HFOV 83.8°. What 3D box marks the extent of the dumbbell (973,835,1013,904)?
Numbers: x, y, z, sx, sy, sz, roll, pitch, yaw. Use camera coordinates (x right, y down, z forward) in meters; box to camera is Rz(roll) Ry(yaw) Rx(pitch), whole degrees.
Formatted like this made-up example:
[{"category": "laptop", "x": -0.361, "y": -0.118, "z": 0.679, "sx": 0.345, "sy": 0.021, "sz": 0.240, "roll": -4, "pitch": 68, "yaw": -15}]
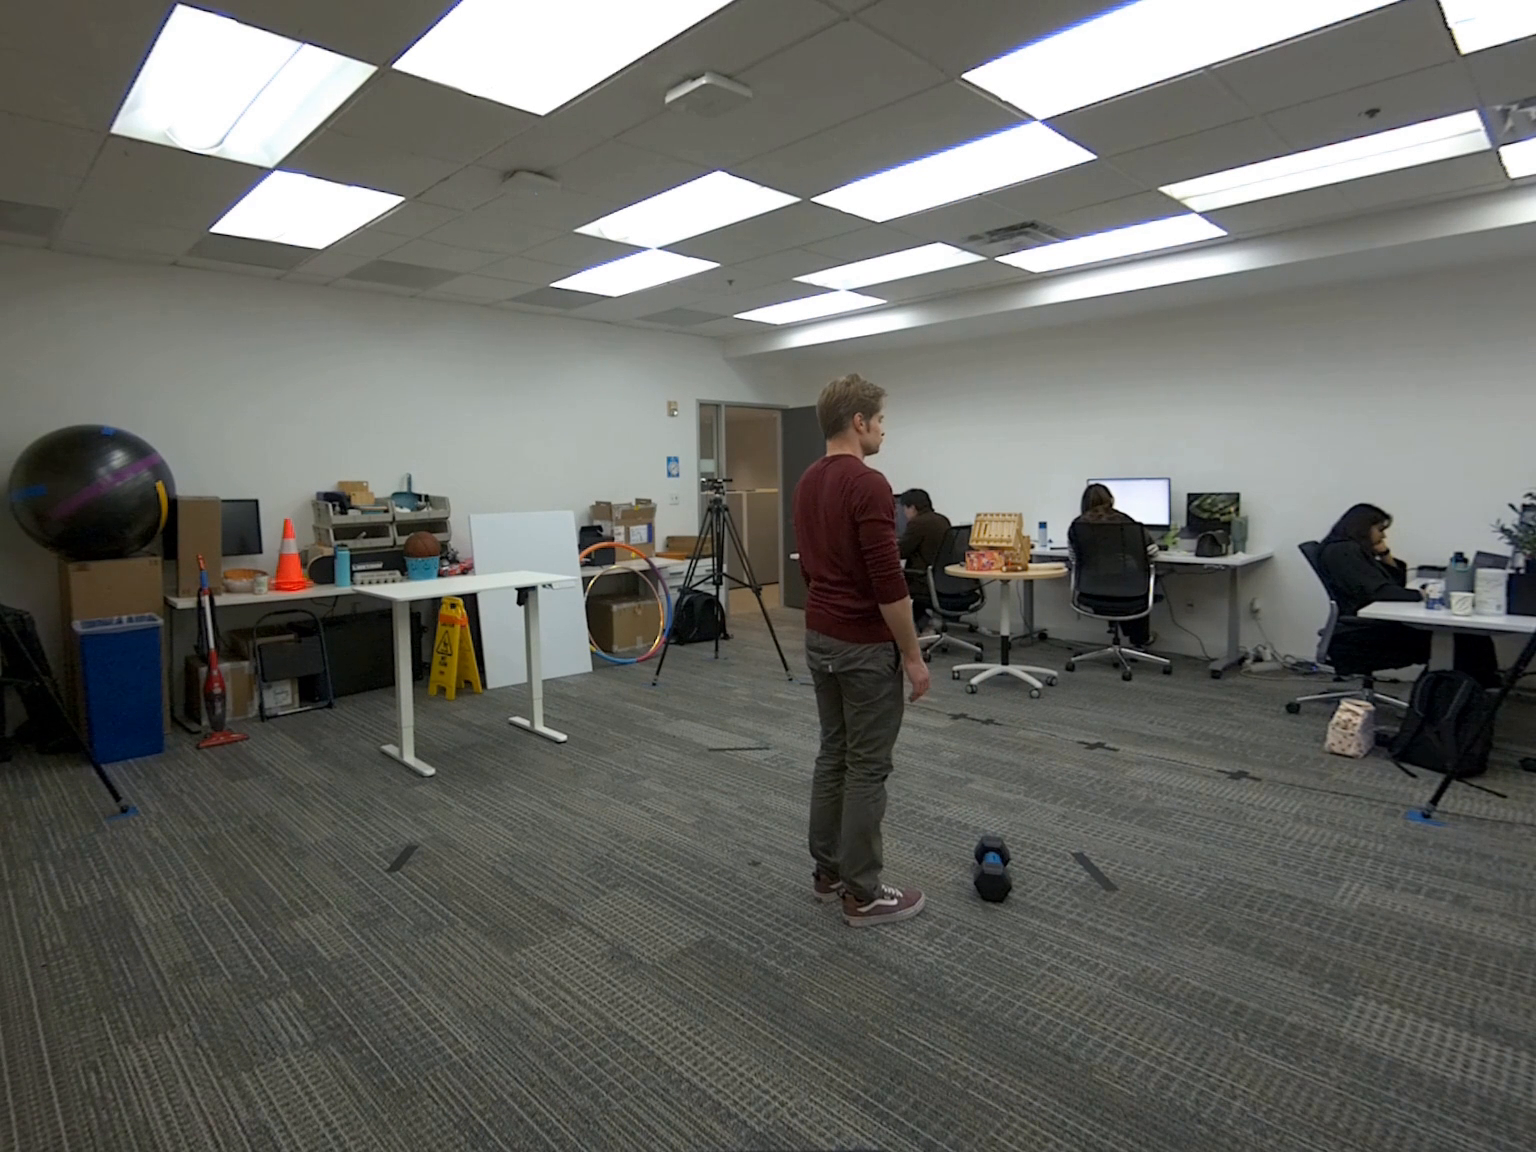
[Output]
[{"category": "dumbbell", "x": 0.773, "y": 0.997, "z": 2.921, "sx": 0.110, "sy": 0.122, "sz": 0.290, "roll": 31, "pitch": 12, "yaw": 9}]
